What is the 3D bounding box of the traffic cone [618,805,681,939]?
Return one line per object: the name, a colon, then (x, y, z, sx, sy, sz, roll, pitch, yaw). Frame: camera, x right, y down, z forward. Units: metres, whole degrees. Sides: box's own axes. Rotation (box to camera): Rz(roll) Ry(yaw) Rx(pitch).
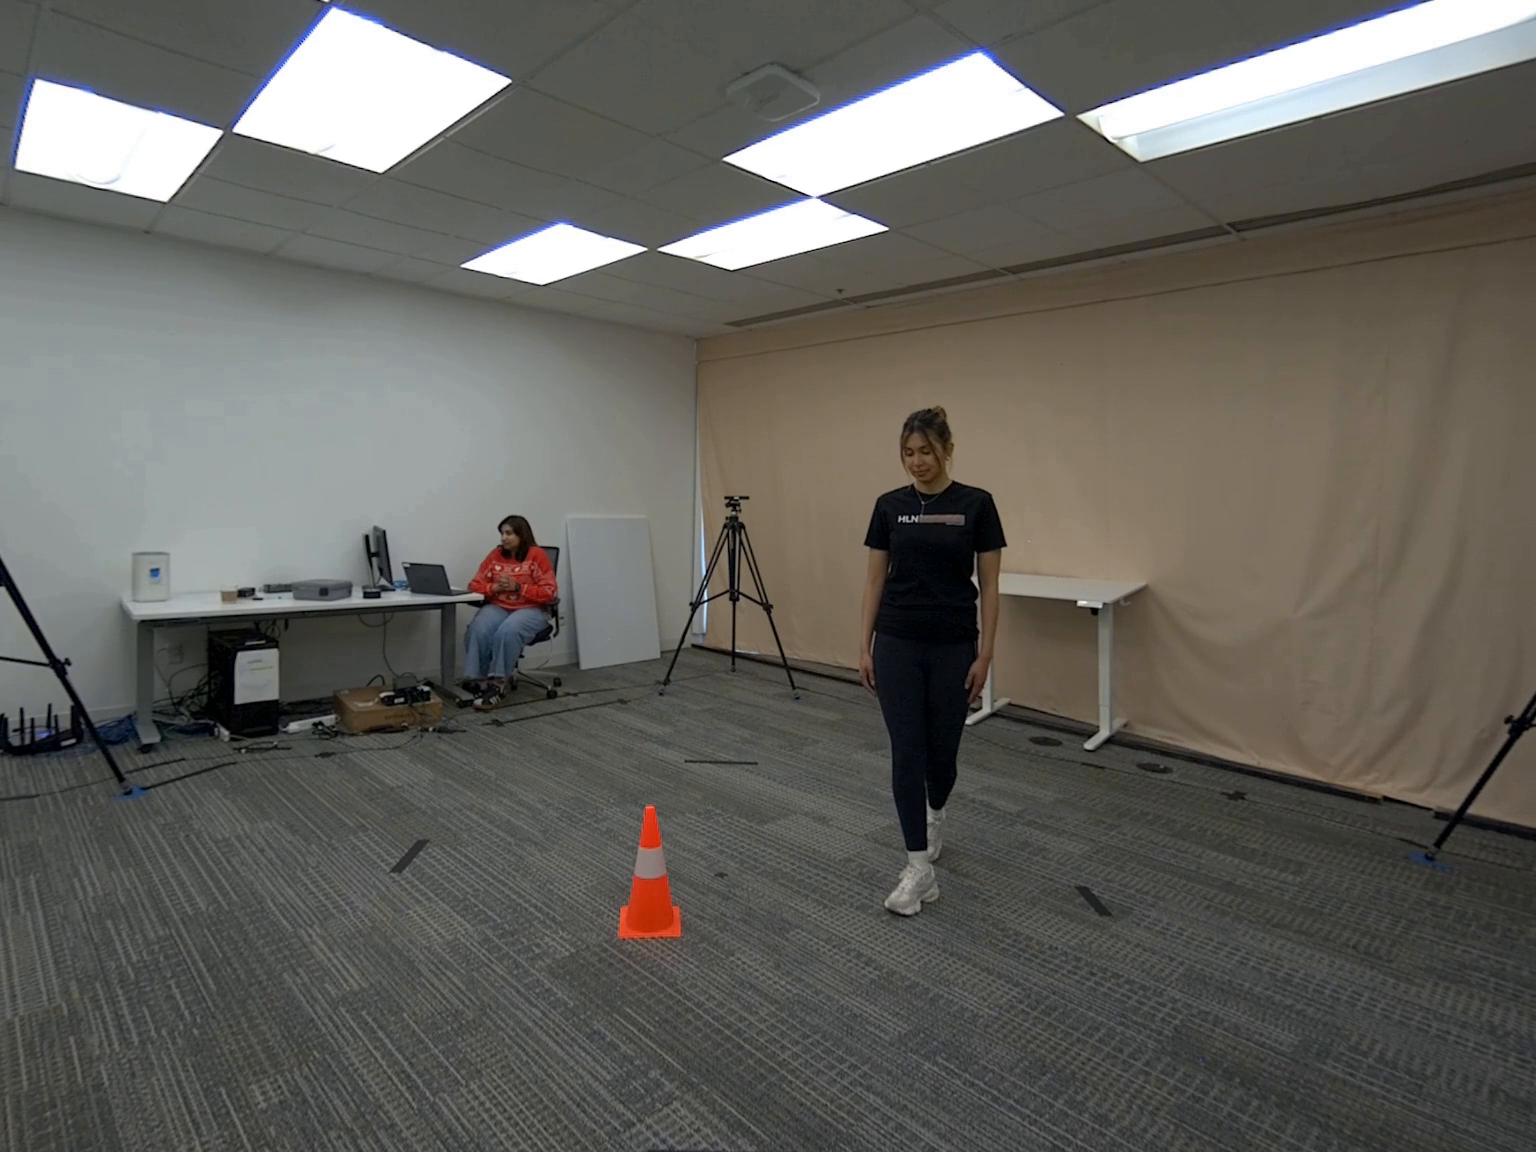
traffic cone: (-0.384, 0.946, 2.734, 0.204, 0.383, 0.205, 2, 4, -7)
